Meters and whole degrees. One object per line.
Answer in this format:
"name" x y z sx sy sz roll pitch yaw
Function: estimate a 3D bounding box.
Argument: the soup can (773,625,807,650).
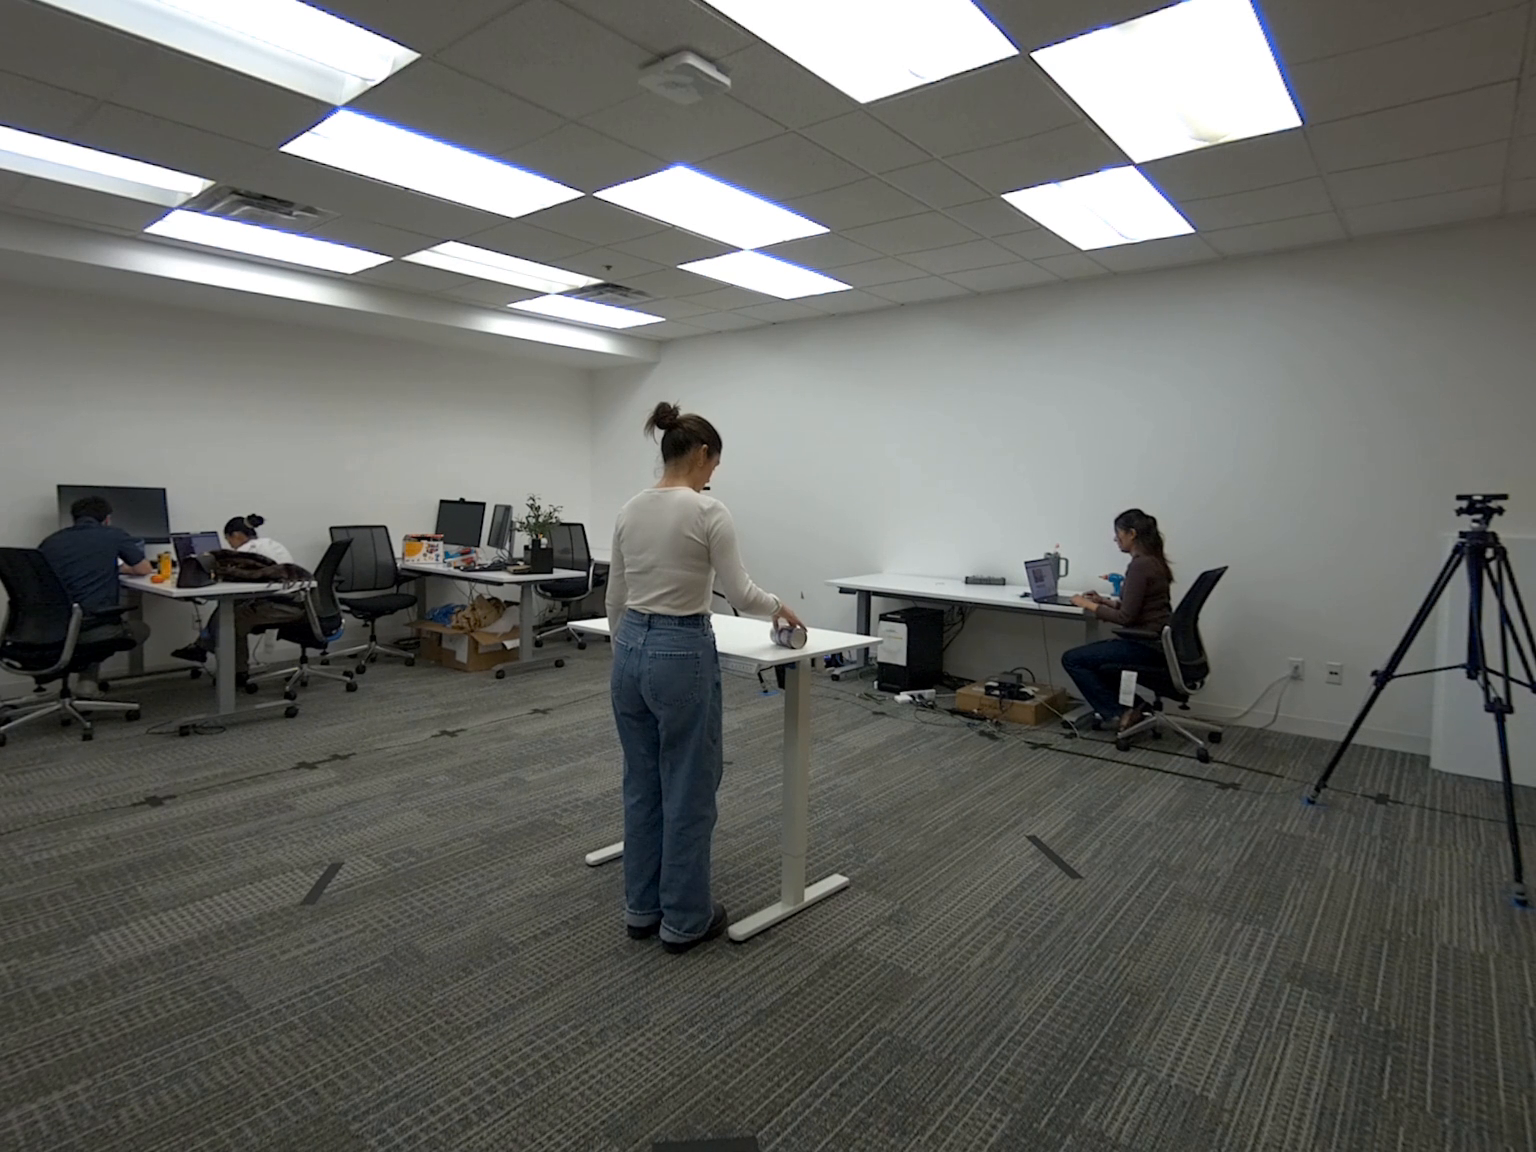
"soup can" 0.056 0.193 2.706 0.066 0.067 0.124 -1 4 -19
